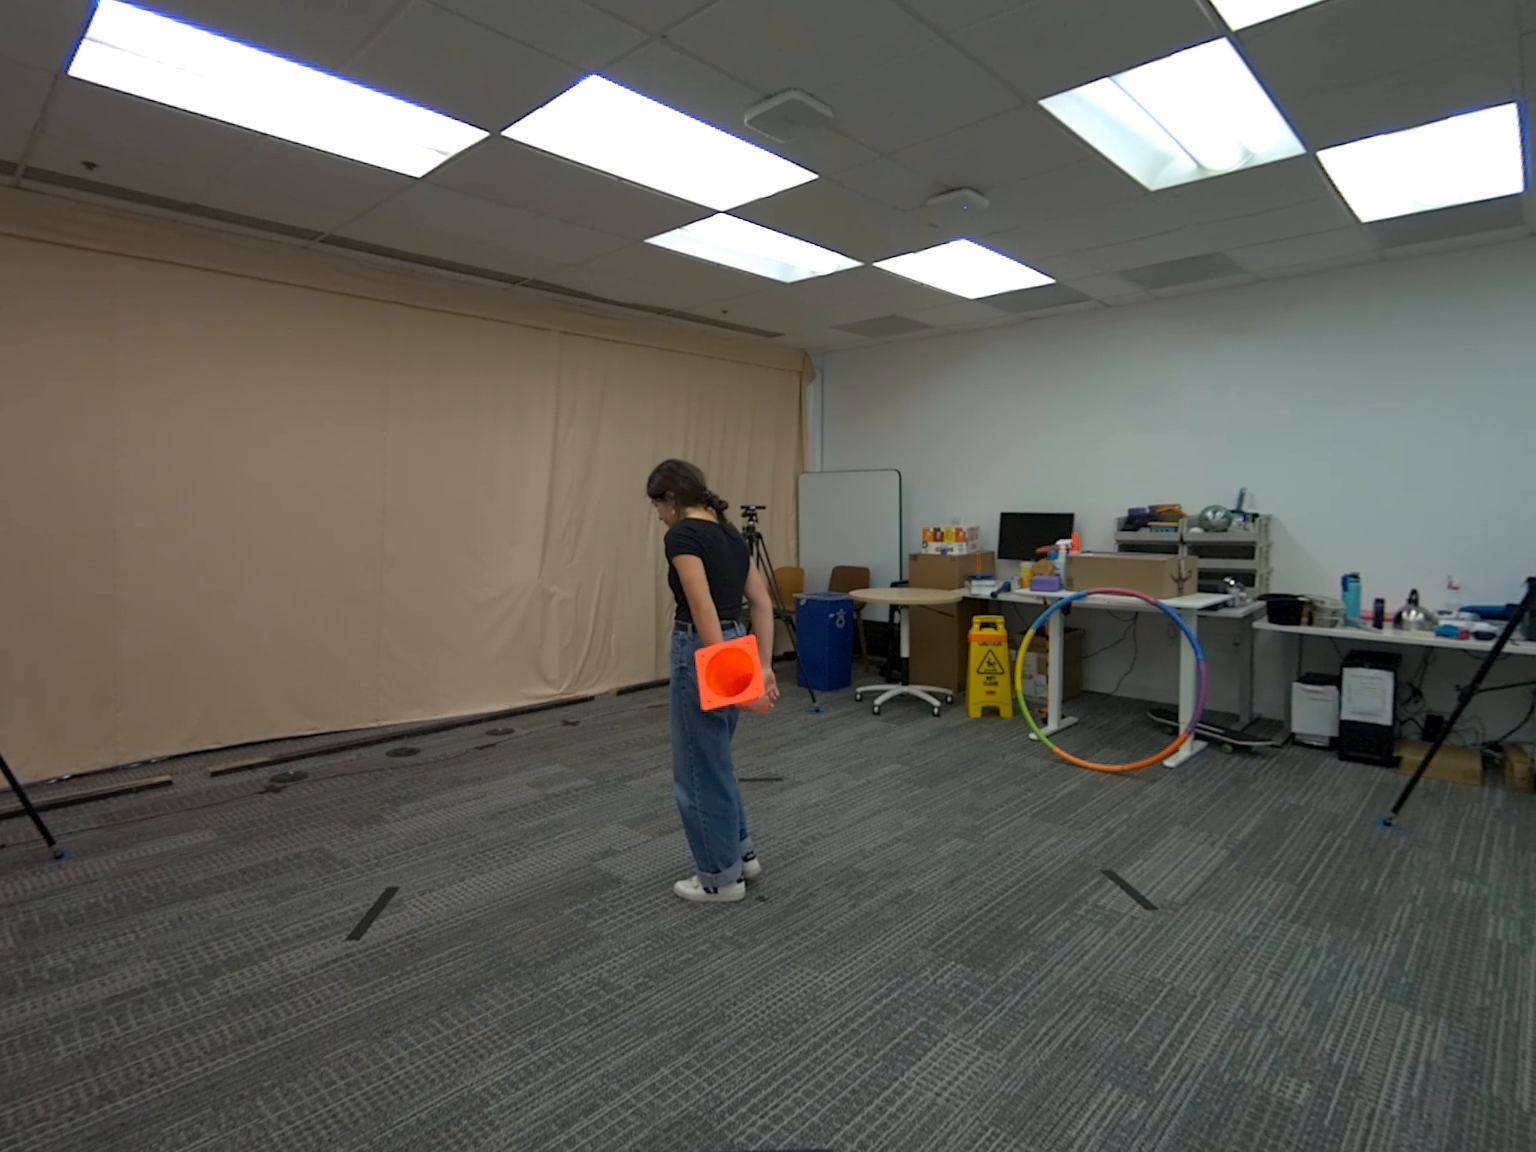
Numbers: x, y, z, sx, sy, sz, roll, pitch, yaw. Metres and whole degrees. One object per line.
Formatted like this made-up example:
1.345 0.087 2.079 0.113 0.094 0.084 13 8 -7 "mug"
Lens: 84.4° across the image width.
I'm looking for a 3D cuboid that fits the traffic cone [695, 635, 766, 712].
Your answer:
-0.066 0.362 2.677 0.205 0.209 0.372 -19 -31 10 "traffic cone"
